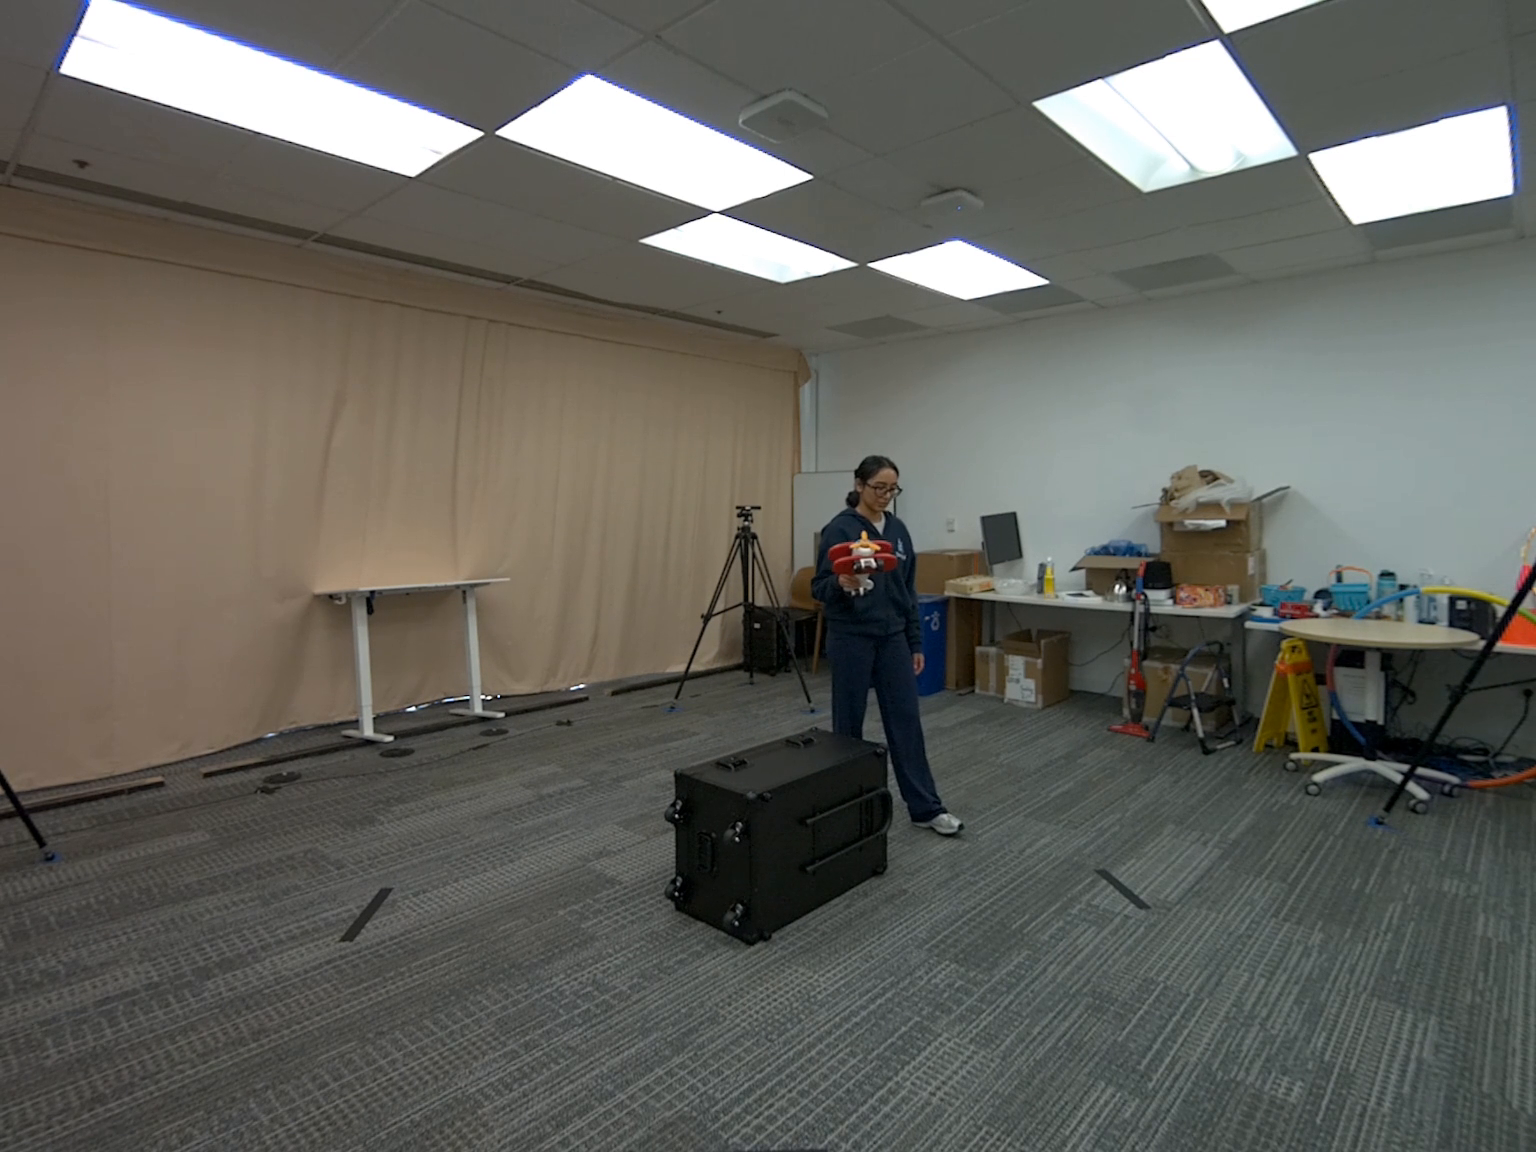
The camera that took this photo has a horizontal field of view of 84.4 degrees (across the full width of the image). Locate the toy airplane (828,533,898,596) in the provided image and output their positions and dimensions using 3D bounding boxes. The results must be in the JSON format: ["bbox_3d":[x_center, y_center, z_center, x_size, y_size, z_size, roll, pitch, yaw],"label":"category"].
[{"bbox_3d":[0.364,-0.039,3.334,0.244,0.159,0.261,13,-38,-28],"label":"toy airplane"}]
